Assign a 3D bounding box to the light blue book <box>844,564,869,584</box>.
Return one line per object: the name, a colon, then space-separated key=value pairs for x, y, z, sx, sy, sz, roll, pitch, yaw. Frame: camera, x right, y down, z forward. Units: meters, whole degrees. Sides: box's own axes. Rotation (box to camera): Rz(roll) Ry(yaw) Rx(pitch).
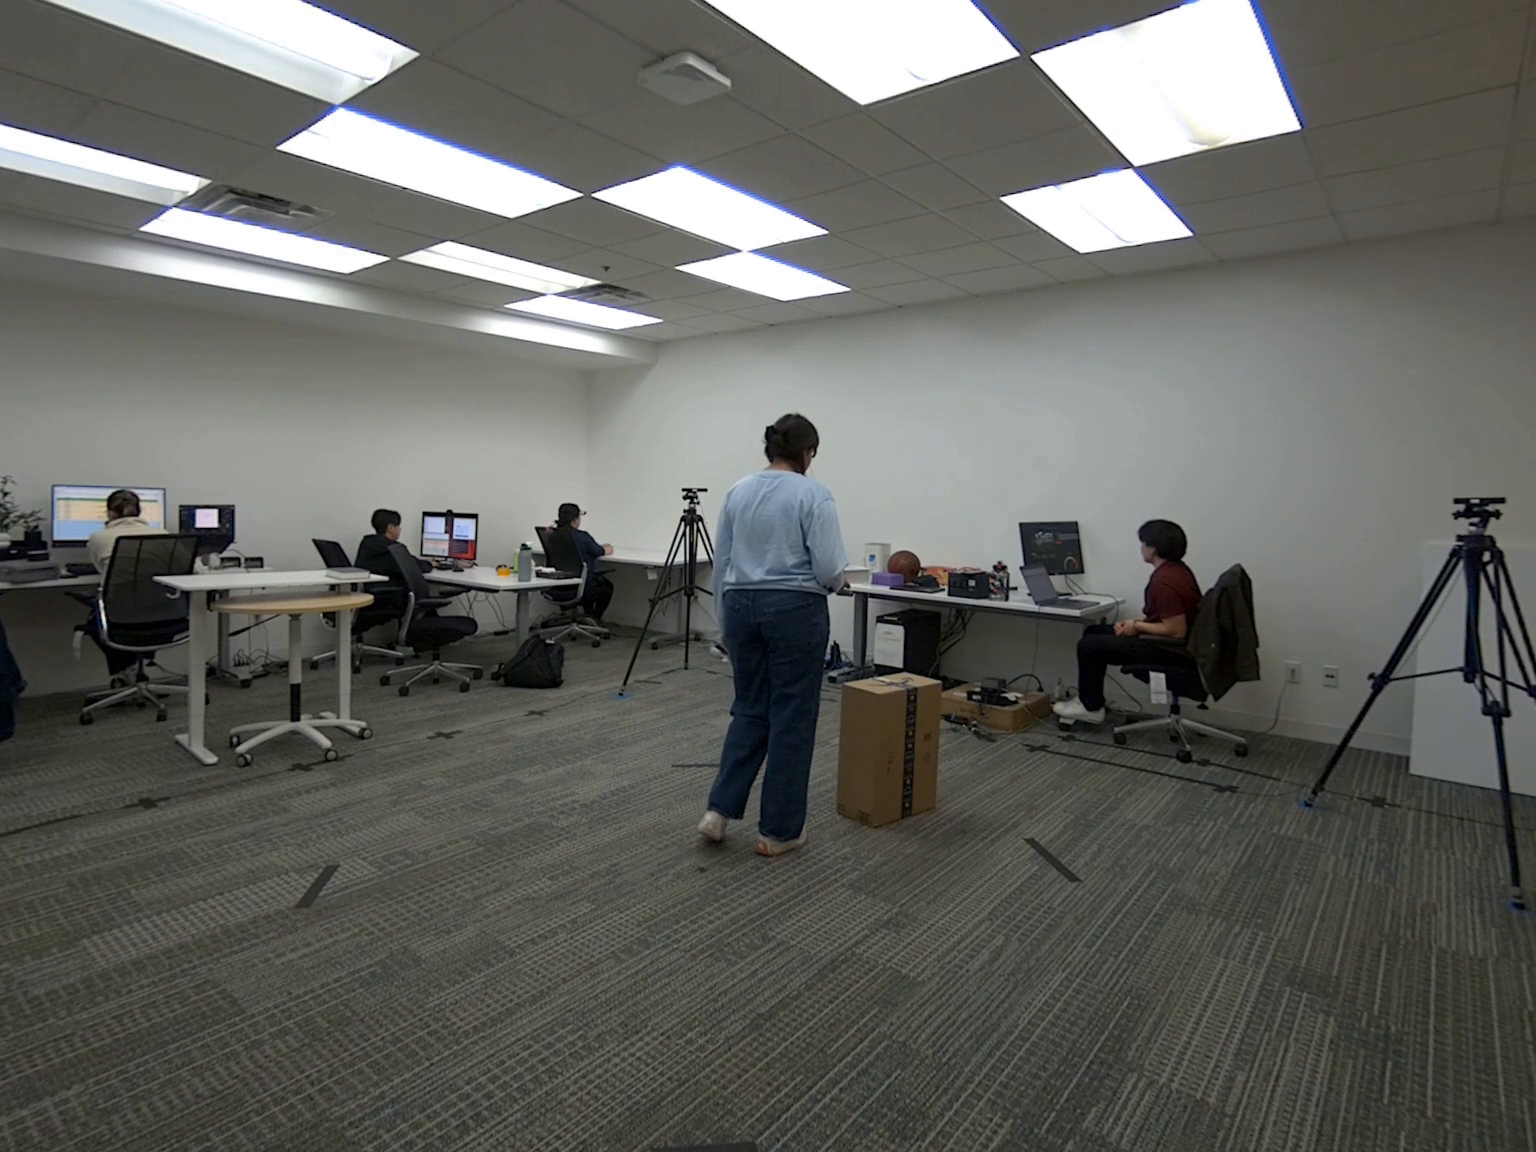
light blue book: x=0.251 y=-0.007 z=3.514 sx=0.260 sy=0.059 sz=0.193 roll=-3 pitch=6 yaw=-3
